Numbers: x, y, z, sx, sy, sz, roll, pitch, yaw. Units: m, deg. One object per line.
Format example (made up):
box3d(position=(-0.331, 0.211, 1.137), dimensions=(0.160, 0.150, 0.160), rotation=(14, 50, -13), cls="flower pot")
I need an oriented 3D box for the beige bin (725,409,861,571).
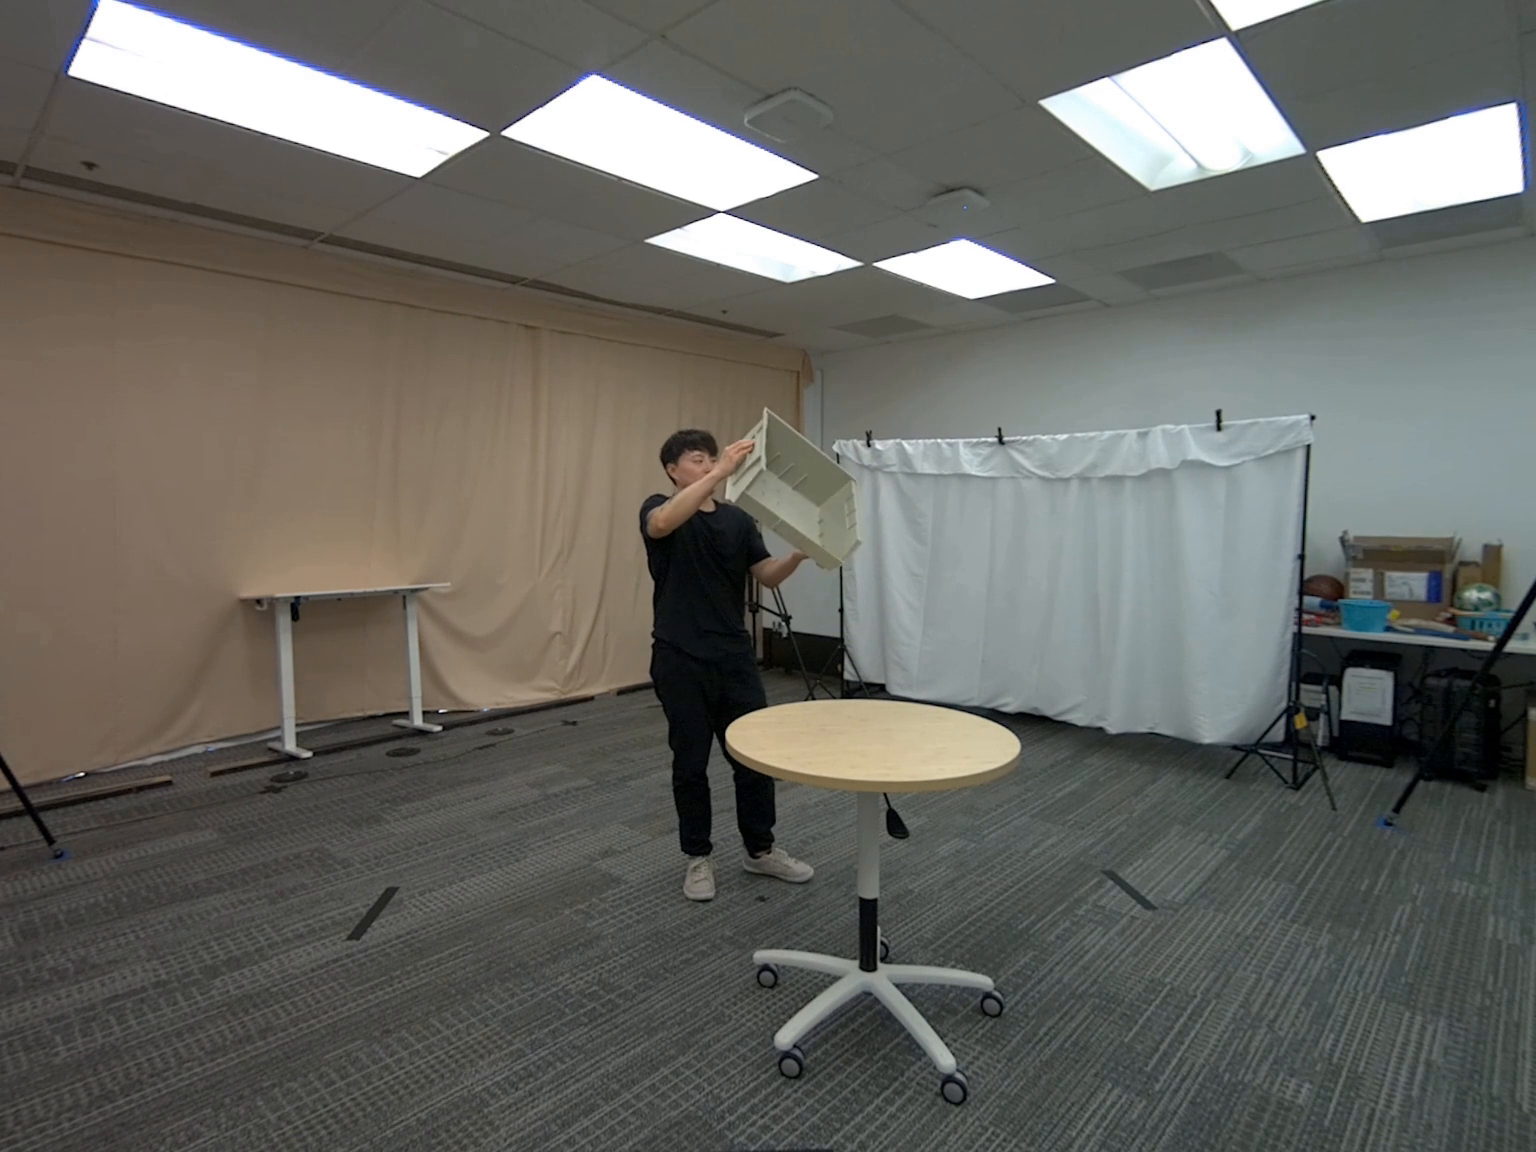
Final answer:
box3d(position=(0.094, -0.263, 2.701), dimensions=(0.412, 0.191, 0.383), rotation=(34, 33, -22), cls="beige bin")
